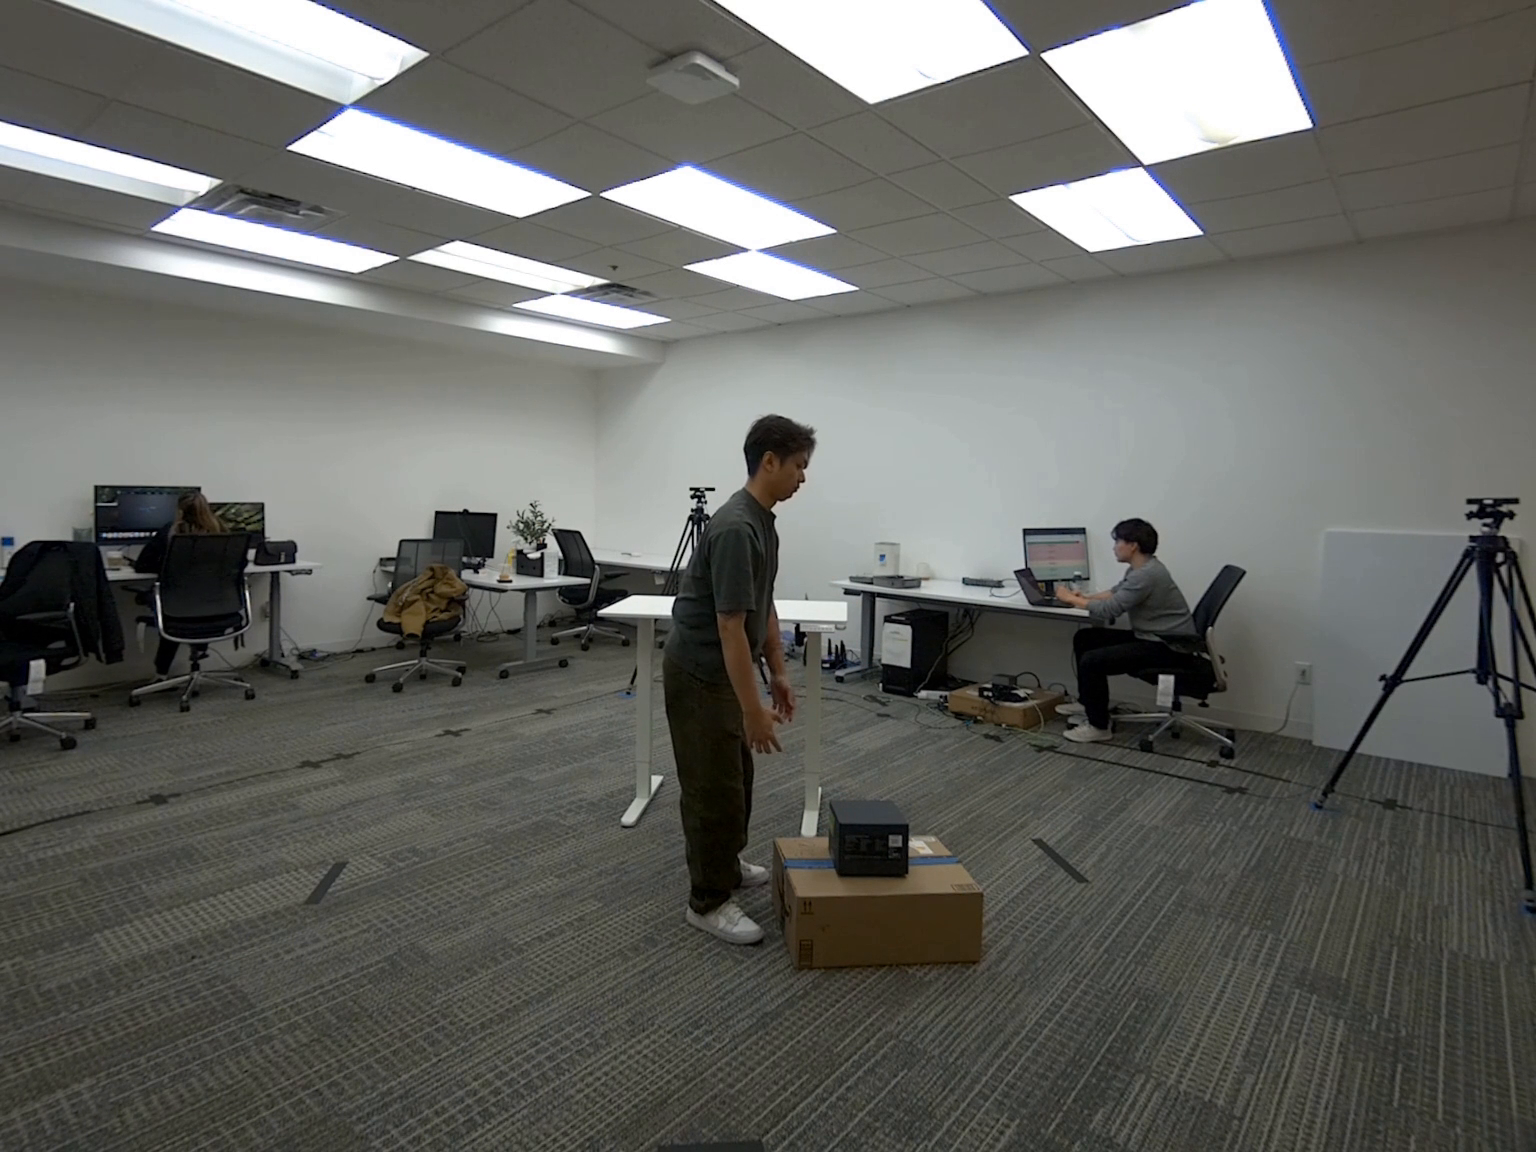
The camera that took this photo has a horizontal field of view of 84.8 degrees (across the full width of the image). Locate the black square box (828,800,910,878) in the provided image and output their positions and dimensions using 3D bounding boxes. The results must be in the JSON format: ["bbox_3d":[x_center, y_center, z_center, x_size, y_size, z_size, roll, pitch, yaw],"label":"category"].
[{"bbox_3d":[0.306,0.817,2.689,0.216,0.155,0.229,1,3,-3],"label":"black square box"}]
